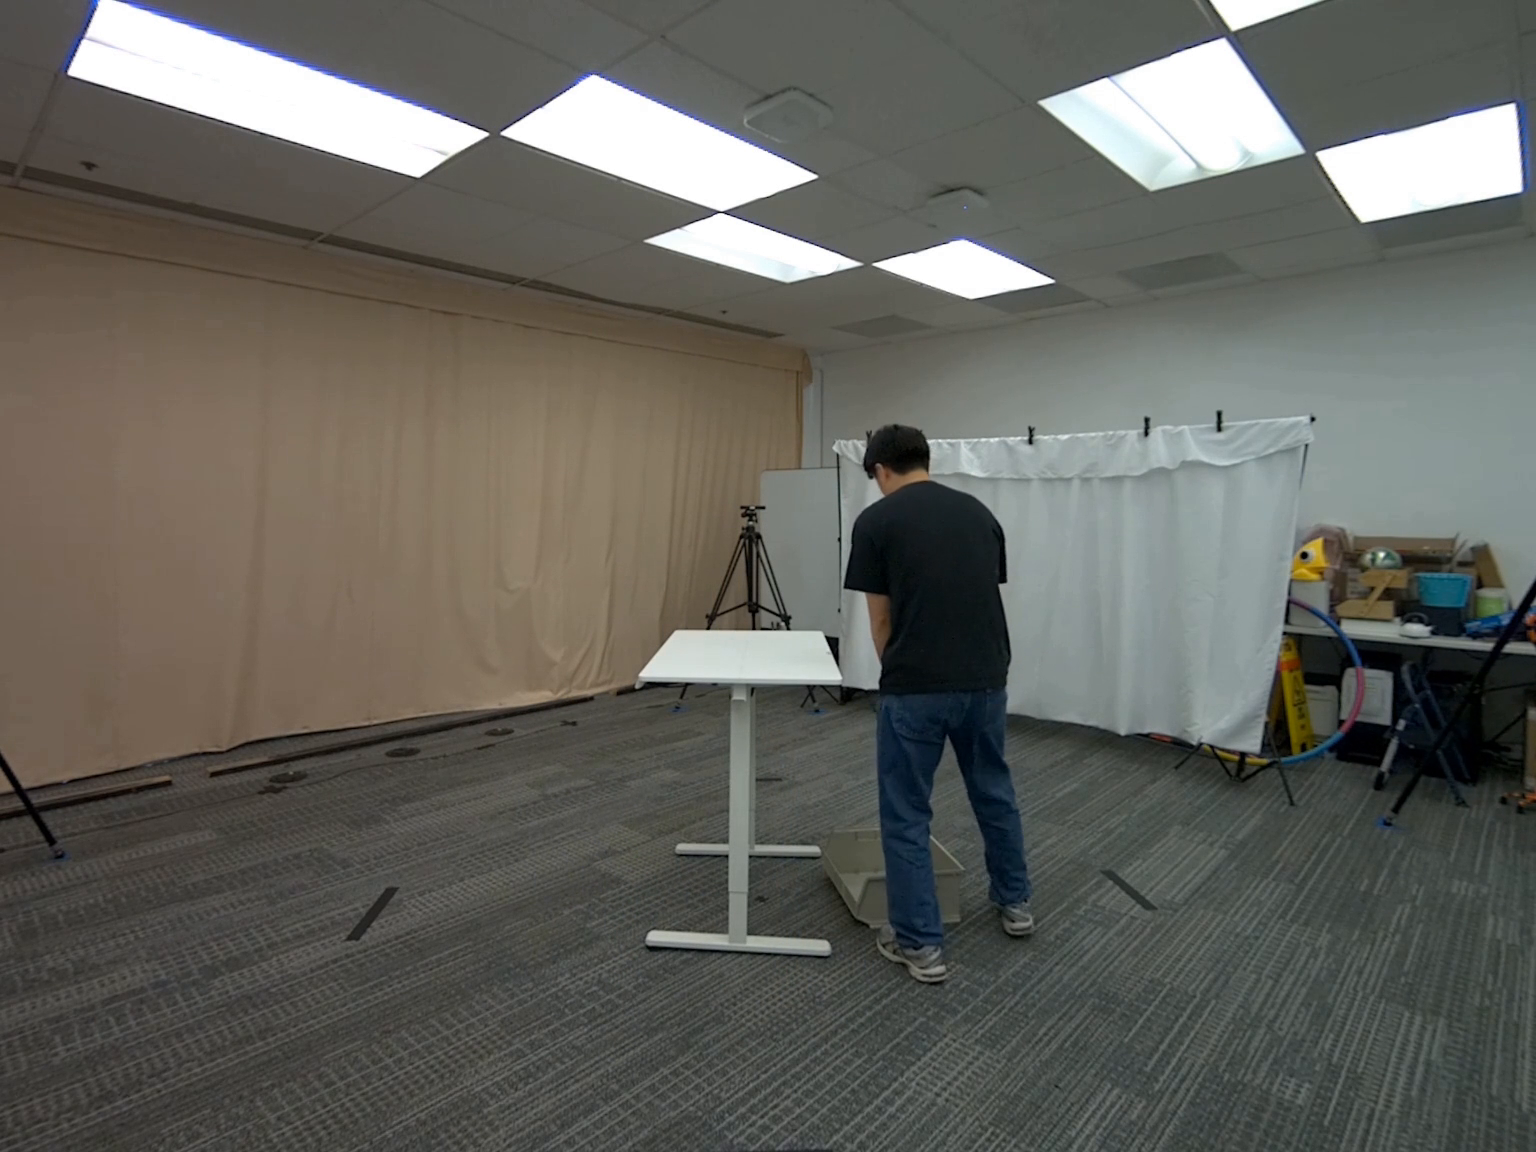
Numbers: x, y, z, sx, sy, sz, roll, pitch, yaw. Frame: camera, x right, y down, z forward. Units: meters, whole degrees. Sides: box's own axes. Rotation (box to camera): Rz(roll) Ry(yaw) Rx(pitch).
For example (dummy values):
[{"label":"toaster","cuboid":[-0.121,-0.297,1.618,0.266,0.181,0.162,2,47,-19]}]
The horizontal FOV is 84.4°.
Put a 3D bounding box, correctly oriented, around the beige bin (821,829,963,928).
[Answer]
[{"label":"beige bin","cuboid":[0.434,1.055,2.984,0.373,0.188,0.428,0,4,-11]}]
